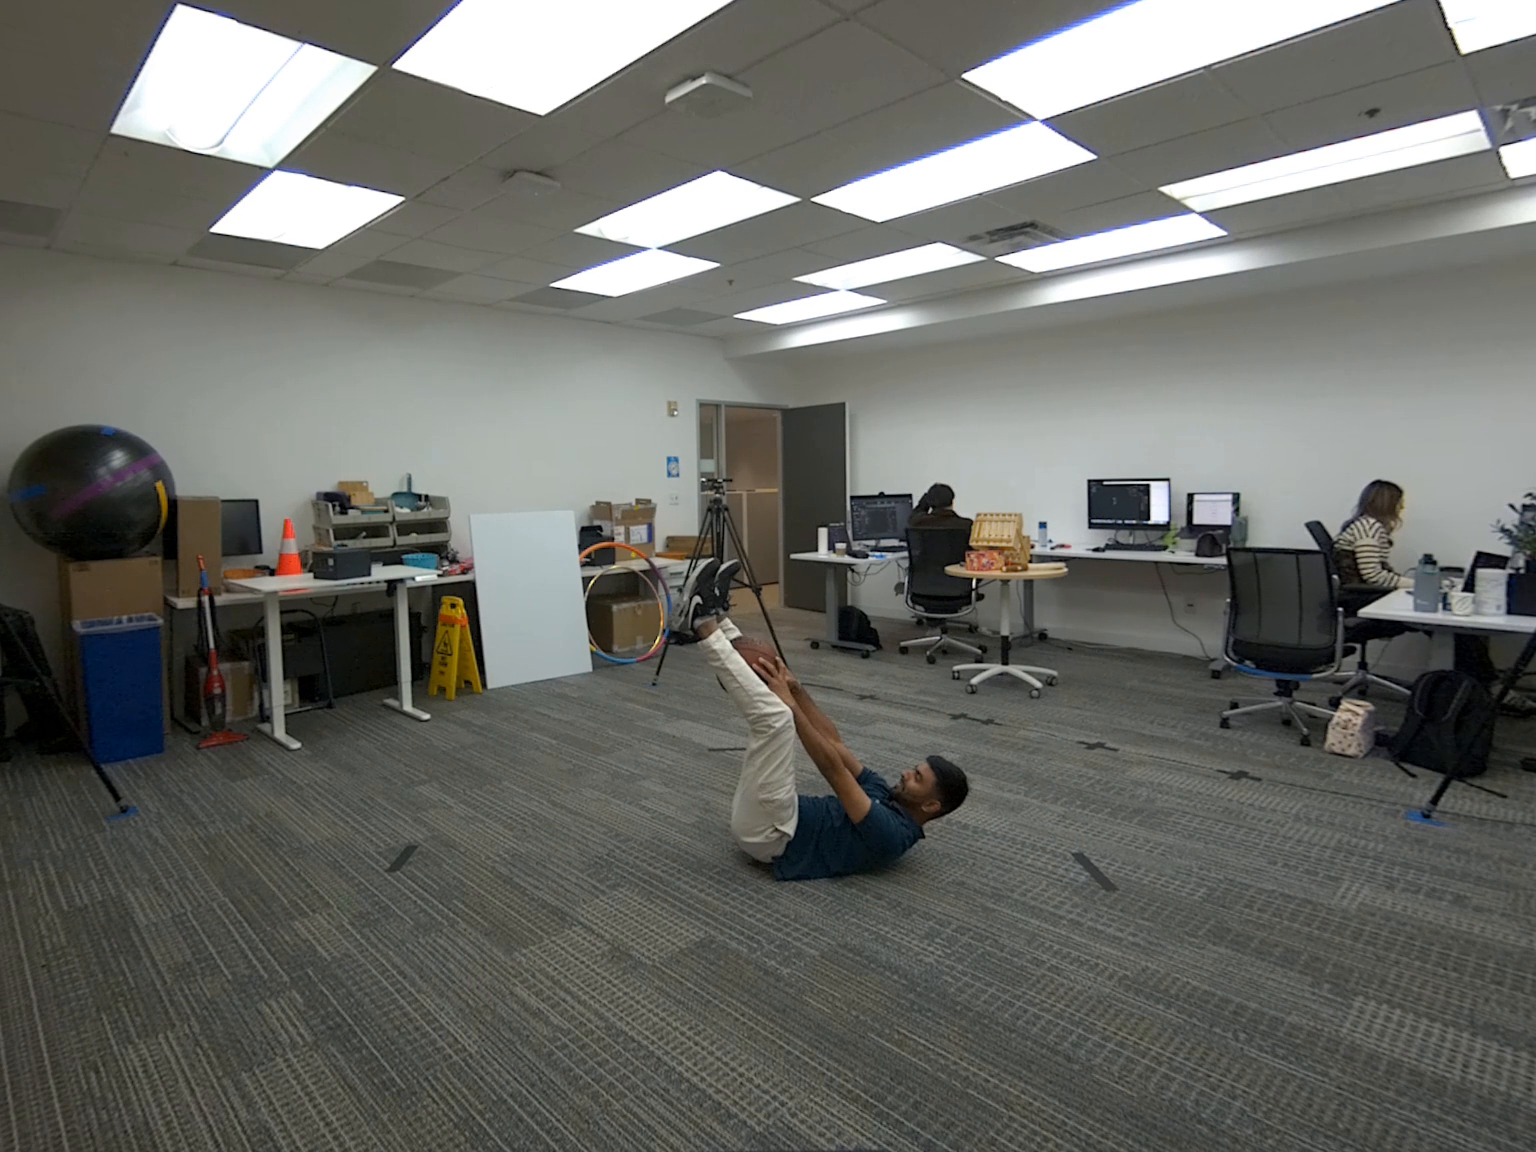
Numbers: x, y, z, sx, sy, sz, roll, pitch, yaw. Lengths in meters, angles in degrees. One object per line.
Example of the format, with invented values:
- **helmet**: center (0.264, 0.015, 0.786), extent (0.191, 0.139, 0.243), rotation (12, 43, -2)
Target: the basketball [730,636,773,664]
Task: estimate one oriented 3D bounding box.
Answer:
- **basketball**: center (-0.075, 0.331, 3.158), extent (0.236, 0.235, 0.237), rotation (-1, 5, -2)
